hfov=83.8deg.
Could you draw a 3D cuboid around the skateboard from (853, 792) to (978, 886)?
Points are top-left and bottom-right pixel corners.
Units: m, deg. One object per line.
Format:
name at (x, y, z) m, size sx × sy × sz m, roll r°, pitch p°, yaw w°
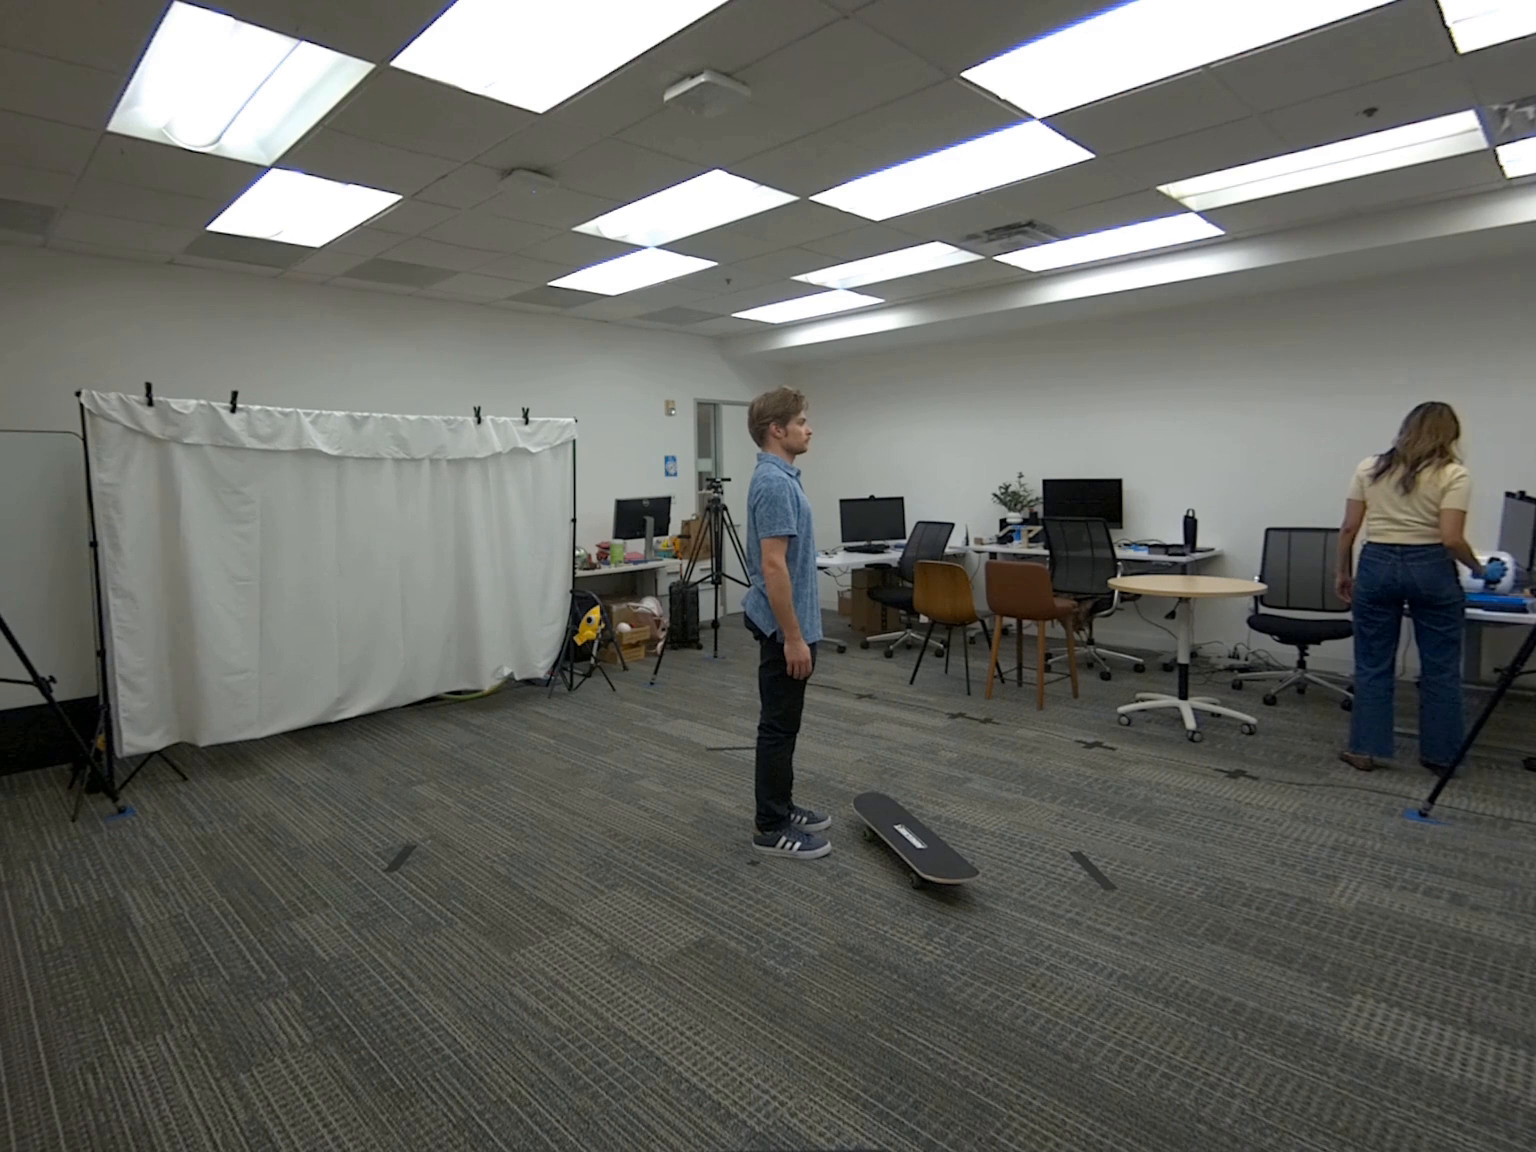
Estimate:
skateboard at (0.527, 0.983, 3.102) m, size 0.191 × 0.110 × 0.799 m, roll -3°, pitch 6°, yaw -15°
